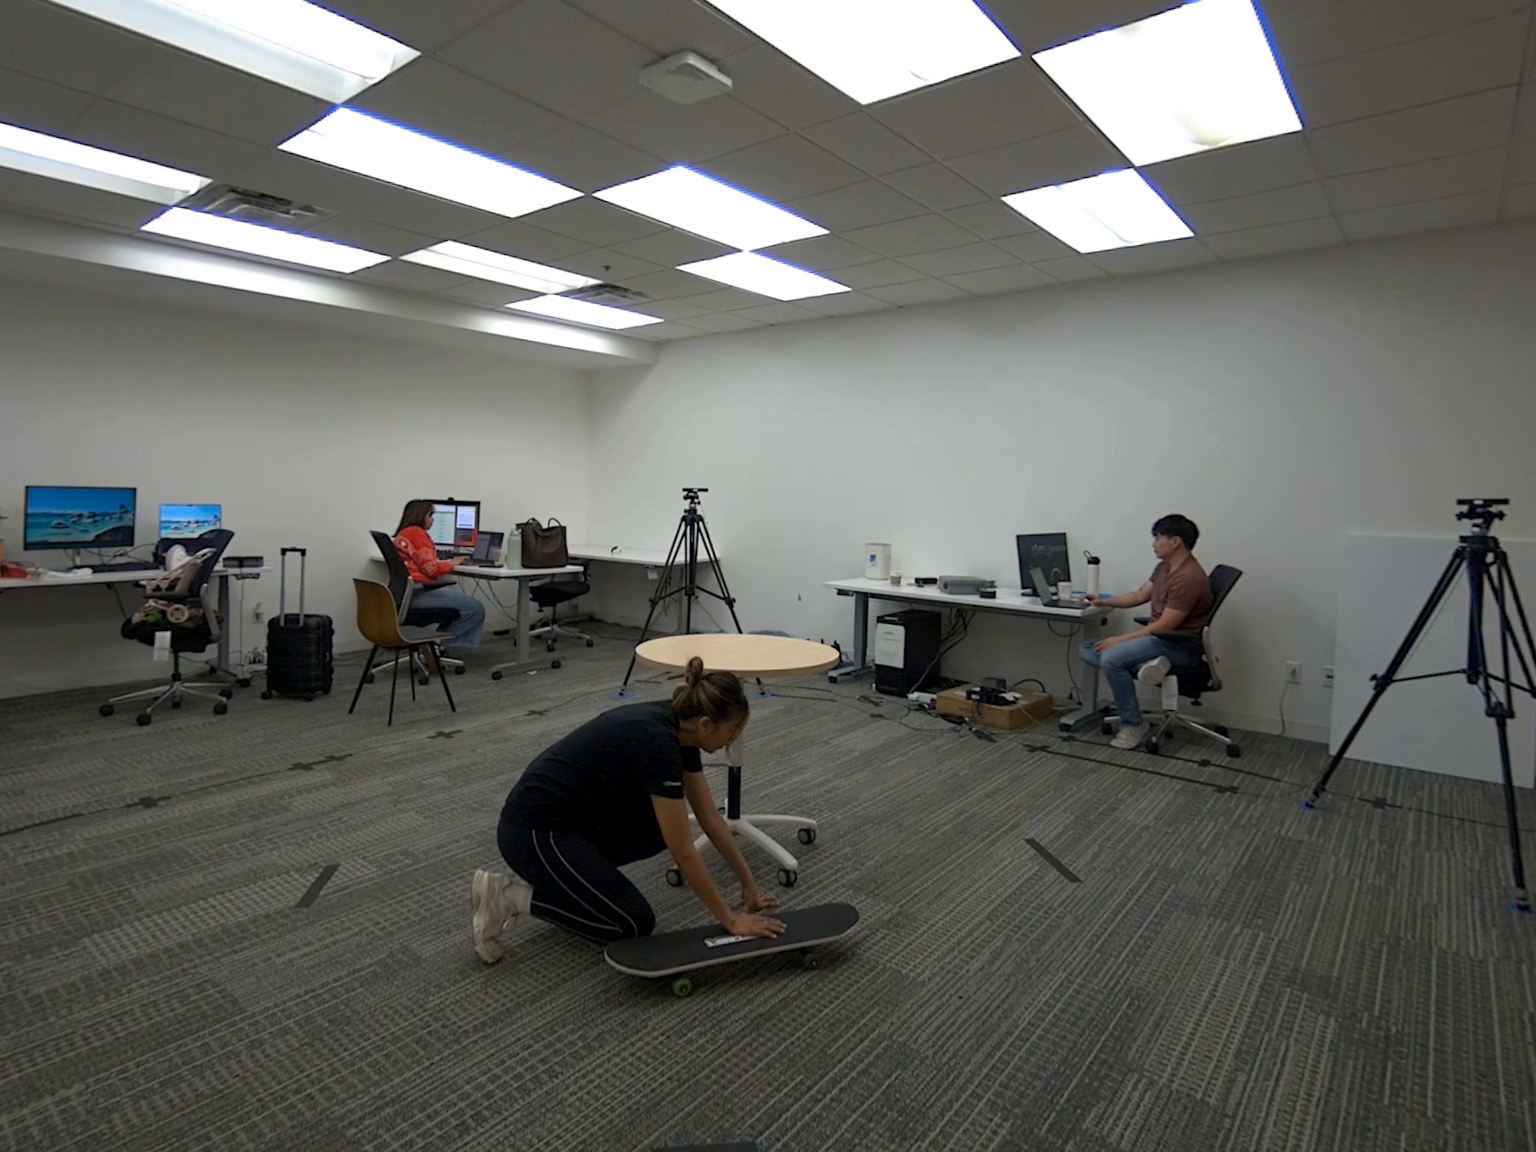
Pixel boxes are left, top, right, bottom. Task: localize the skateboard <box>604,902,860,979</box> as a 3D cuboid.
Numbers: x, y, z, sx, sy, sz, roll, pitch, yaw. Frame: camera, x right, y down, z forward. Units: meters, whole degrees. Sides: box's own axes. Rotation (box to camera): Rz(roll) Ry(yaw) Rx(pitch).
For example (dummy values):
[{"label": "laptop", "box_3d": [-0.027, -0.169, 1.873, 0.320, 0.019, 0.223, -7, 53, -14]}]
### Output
[{"label": "skateboard", "box_3d": [-0.085, 1.085, 2.467, 0.768, 0.110, 0.198, -2, 6, -23]}]
